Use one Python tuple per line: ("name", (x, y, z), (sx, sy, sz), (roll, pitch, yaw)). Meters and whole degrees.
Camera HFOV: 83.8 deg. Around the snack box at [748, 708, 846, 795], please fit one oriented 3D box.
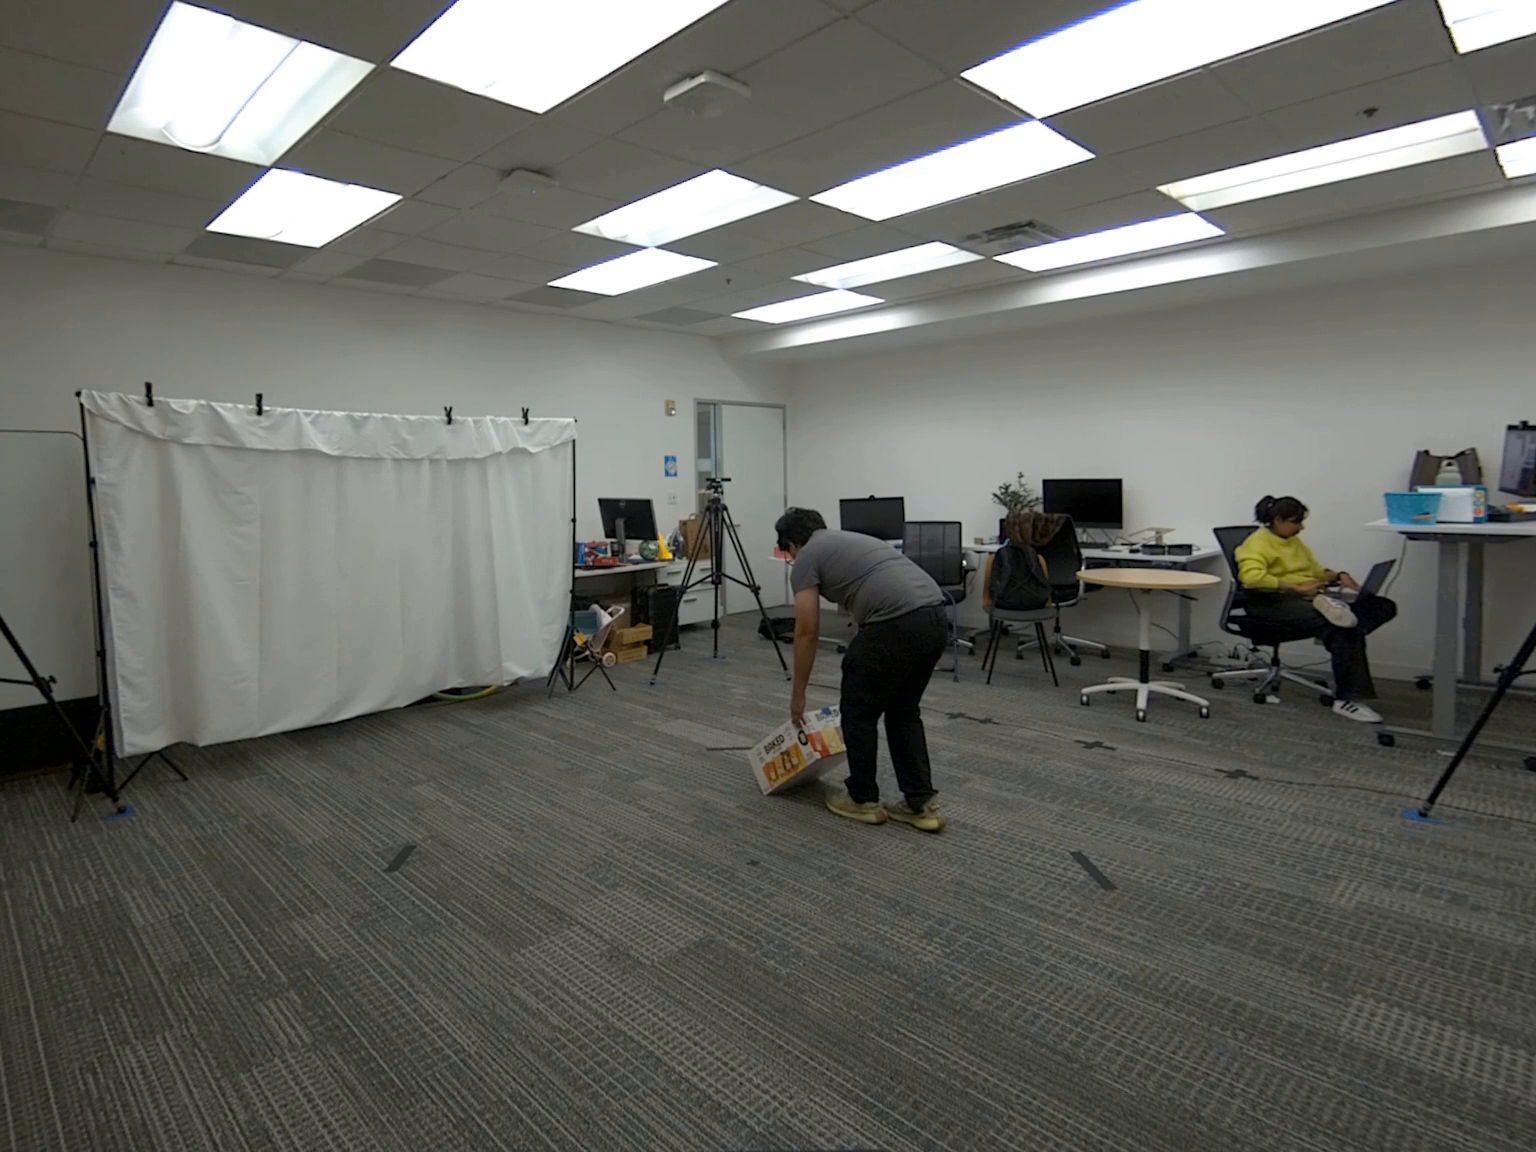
("snack box", (0.179, 0.764, 3.774), (0.331, 0.211, 0.405), (-4, -31, -41))
